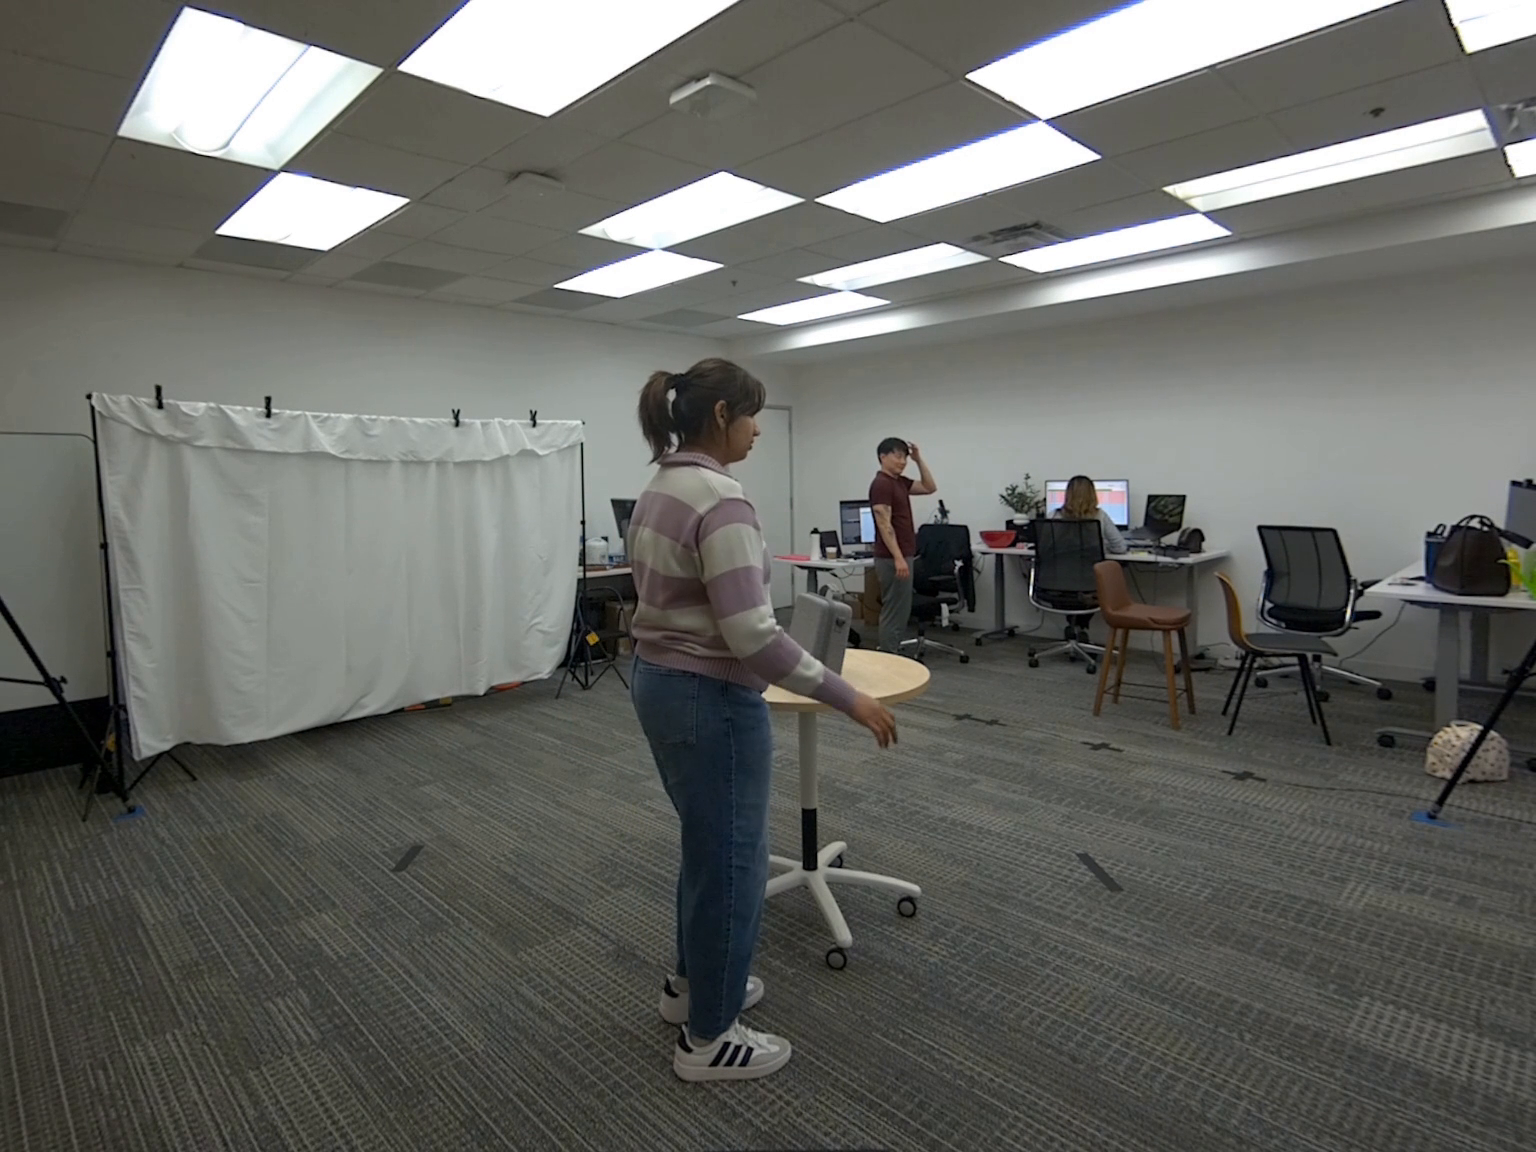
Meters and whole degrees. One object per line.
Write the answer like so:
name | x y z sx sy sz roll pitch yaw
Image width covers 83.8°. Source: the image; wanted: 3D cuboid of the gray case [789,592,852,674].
gray case | 0.152 0.191 2.590 0.103 0.260 0.261 7 4 -16
